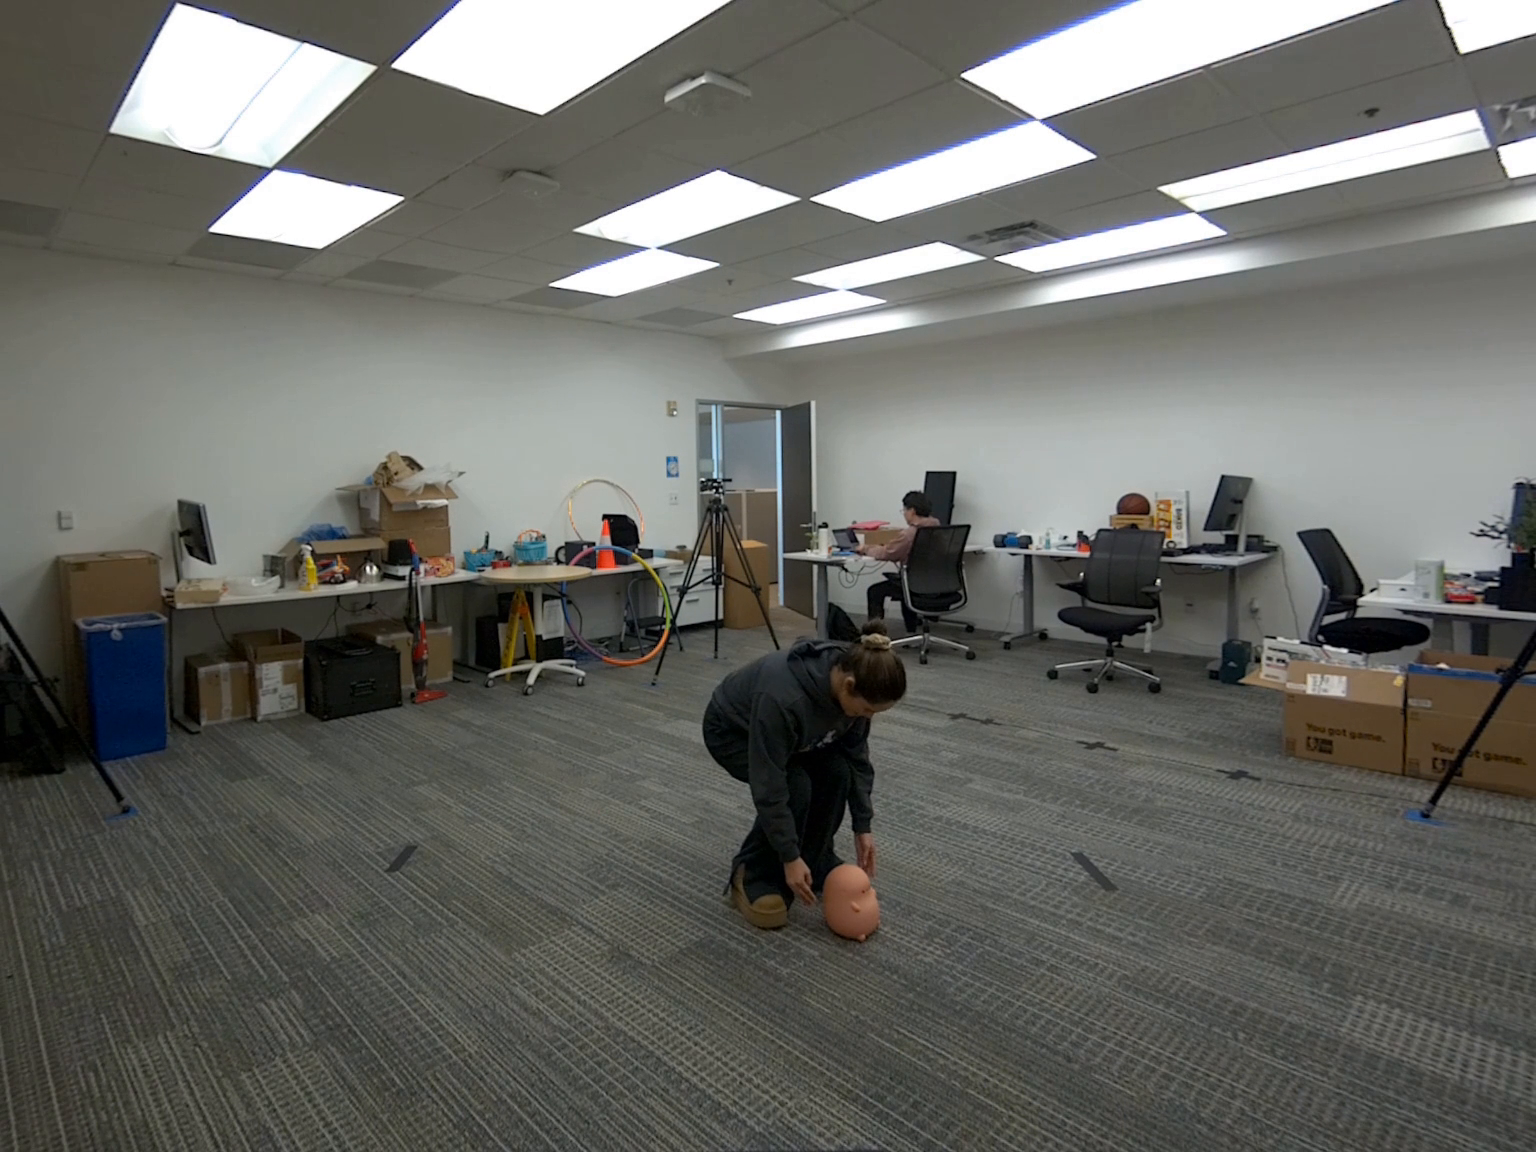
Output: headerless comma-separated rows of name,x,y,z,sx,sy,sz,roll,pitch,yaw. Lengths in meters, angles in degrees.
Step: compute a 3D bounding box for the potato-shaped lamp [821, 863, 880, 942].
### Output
potato-shaped lamp,0.247,0.989,2.624,0.176,0.197,0.161,0,6,37
